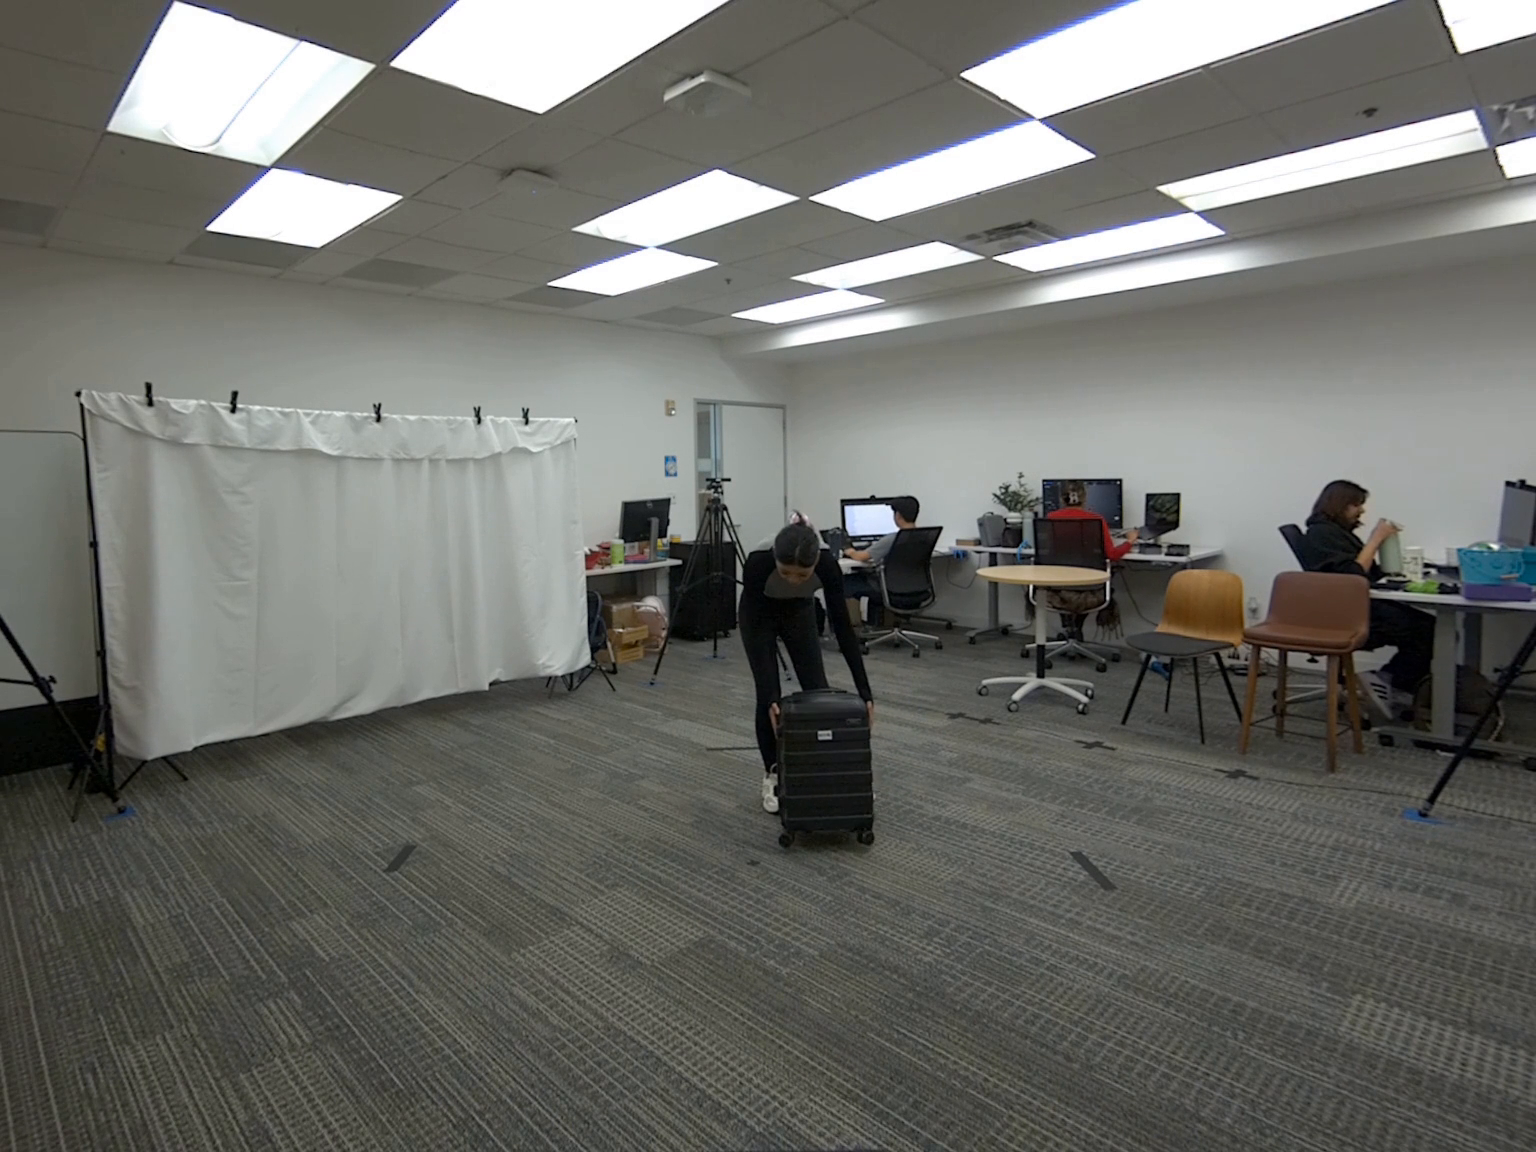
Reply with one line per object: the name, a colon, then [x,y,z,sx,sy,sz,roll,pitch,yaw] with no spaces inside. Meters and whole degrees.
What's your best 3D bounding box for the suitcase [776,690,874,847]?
suitcase: [0.222,0.730,3.307,0.374,0.550,0.248,-1,-2,-4]
